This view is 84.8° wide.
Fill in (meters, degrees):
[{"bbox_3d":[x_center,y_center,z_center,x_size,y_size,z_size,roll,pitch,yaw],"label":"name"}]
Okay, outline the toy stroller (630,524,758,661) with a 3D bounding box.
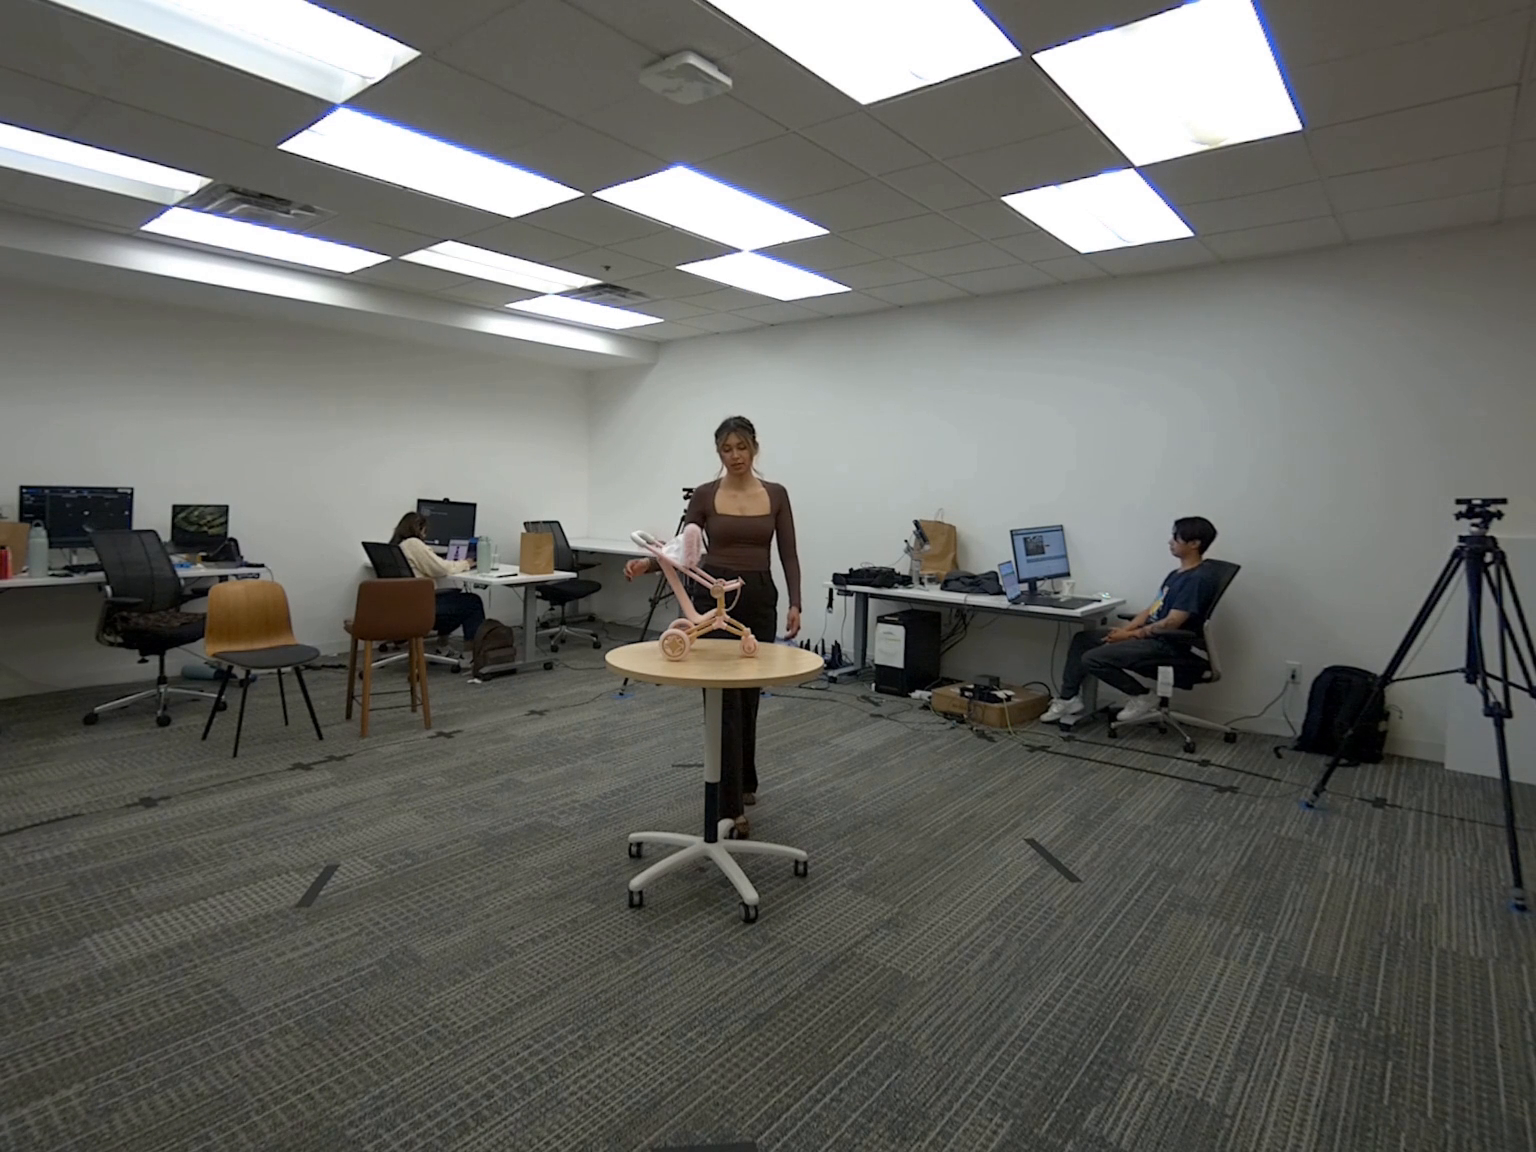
[{"bbox_3d":[-0.253,0.054,3.010,0.344,0.535,0.280,-14,1,8],"label":"toy stroller"}]
